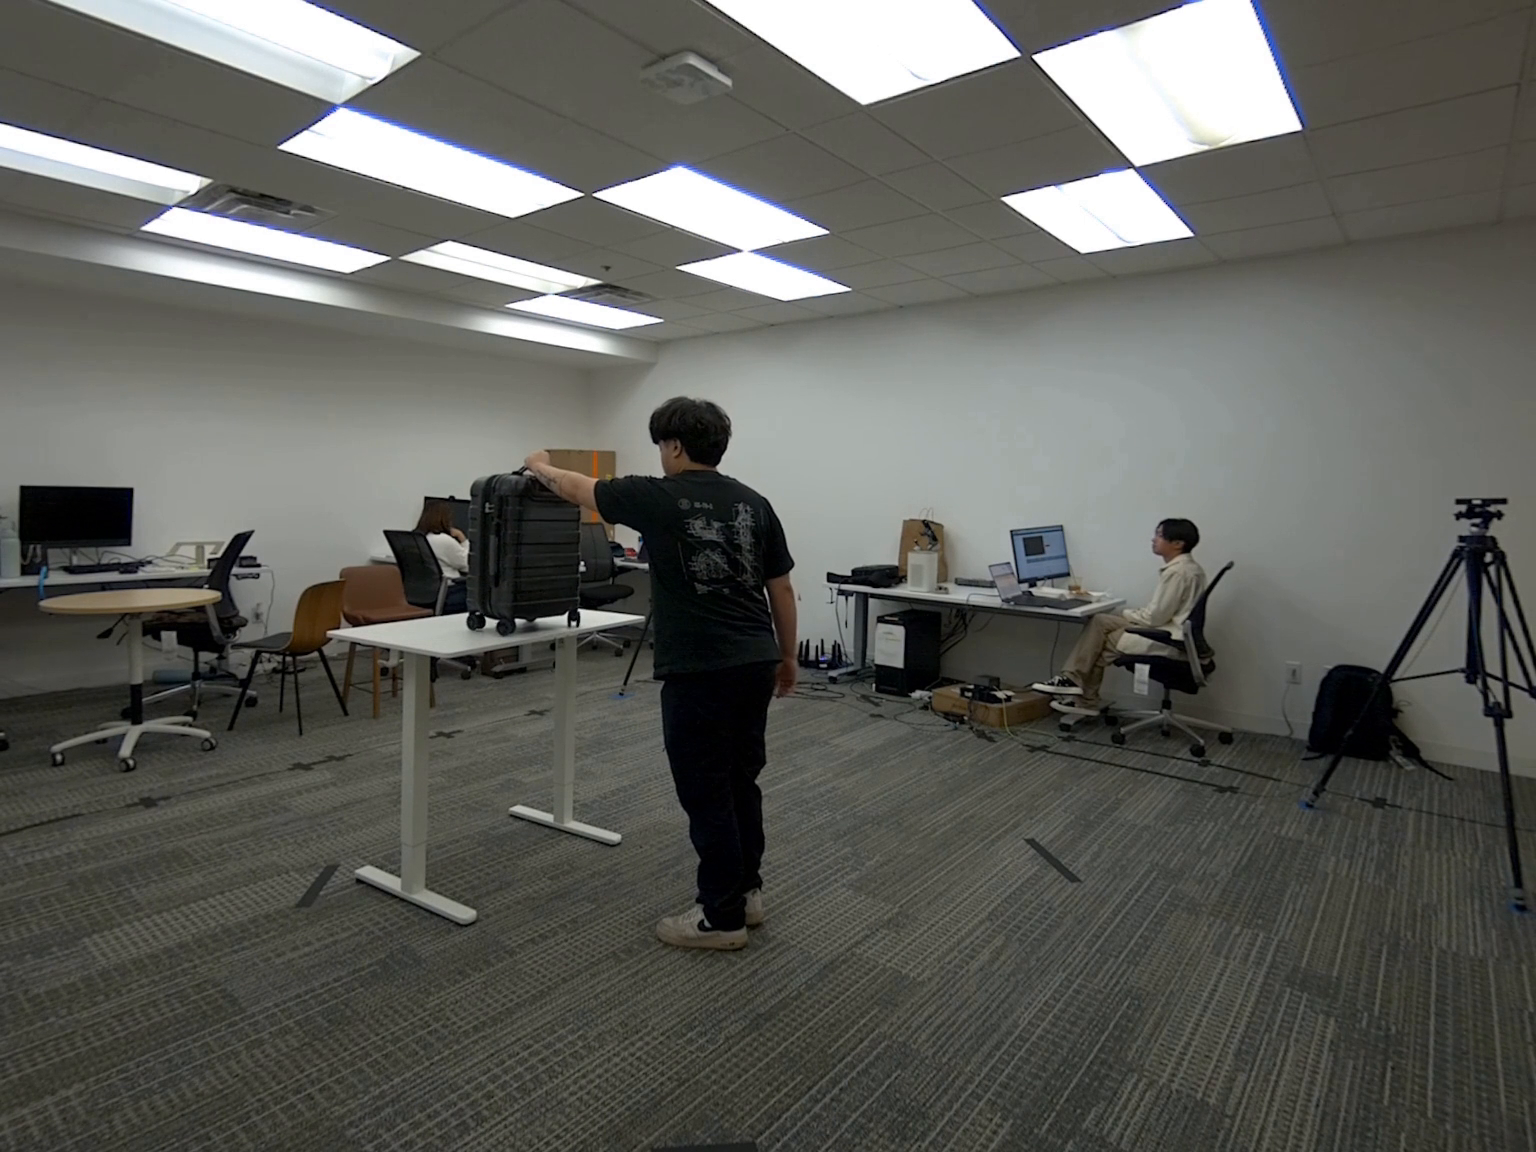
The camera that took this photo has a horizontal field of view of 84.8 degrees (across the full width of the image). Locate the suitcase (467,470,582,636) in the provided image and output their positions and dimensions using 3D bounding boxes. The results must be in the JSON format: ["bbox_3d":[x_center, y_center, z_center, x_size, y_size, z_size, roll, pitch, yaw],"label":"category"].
[{"bbox_3d":[-0.876,-0.094,3.016,0.256,0.548,0.365,2,3,33],"label":"suitcase"}]
